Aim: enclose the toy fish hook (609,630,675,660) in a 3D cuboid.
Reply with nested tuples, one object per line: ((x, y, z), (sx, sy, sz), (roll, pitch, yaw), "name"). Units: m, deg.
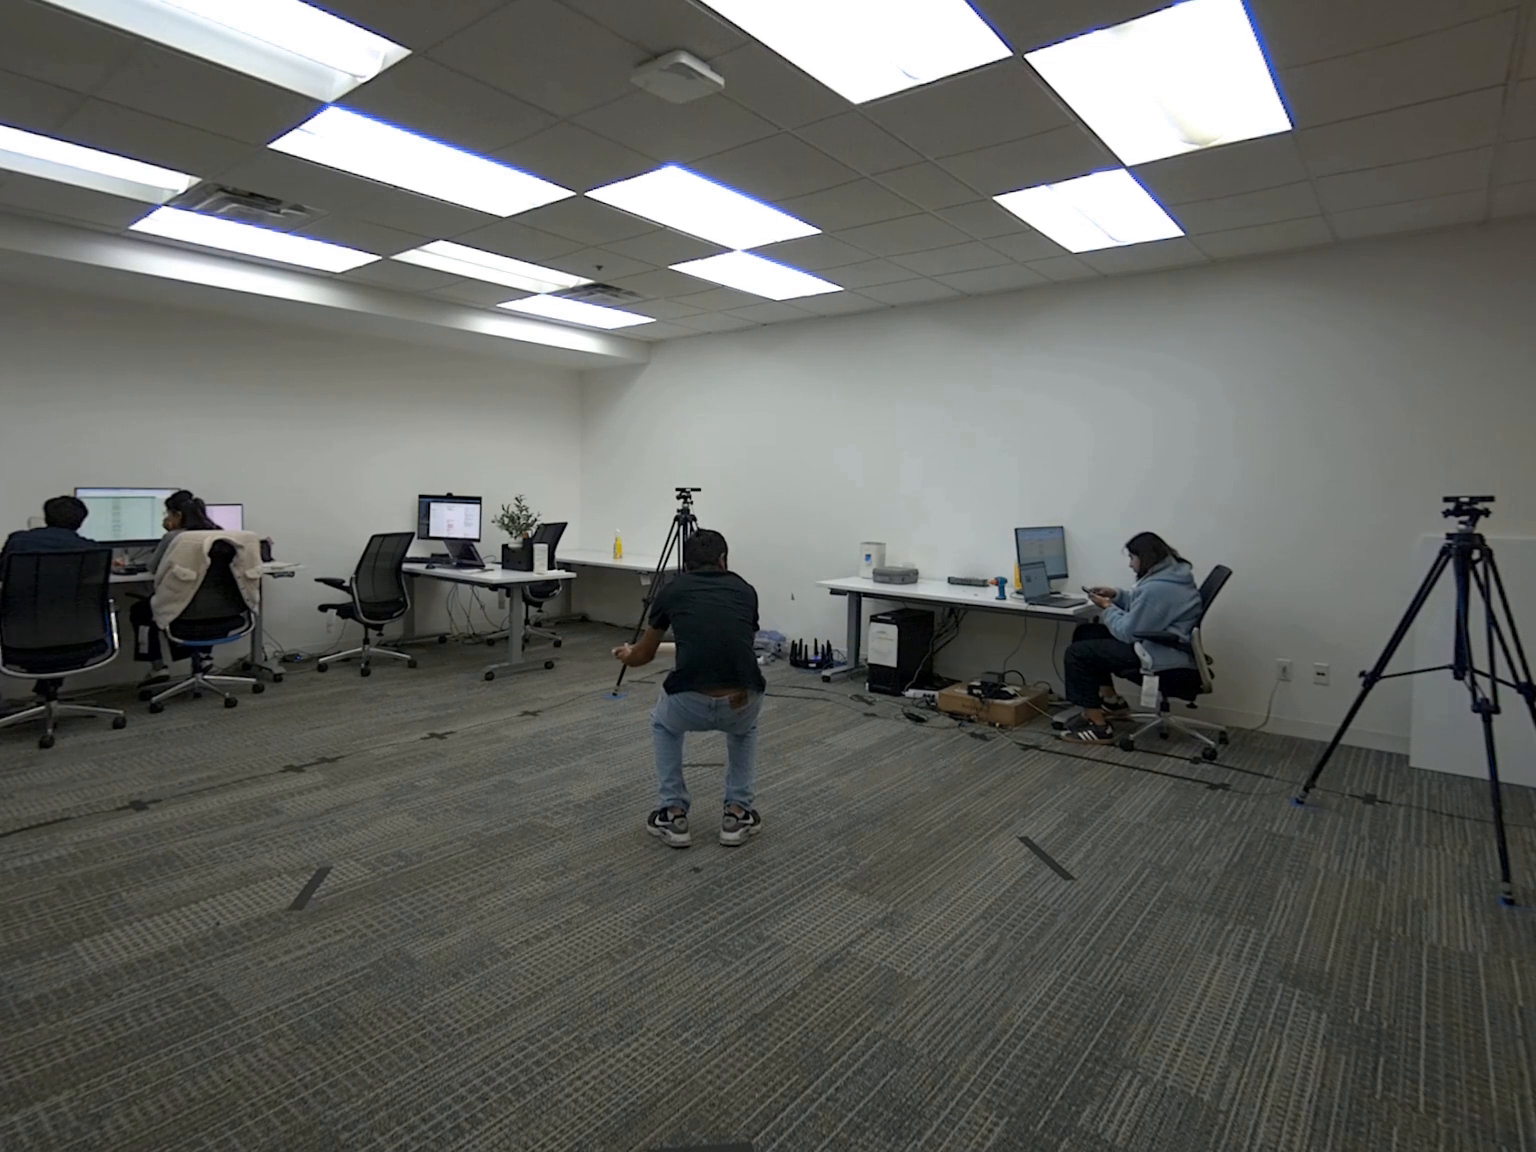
((-0.491, 0.311, 3.985), (0.501, 0.047, 0.230), (-4, 15, -10), "toy fish hook")
